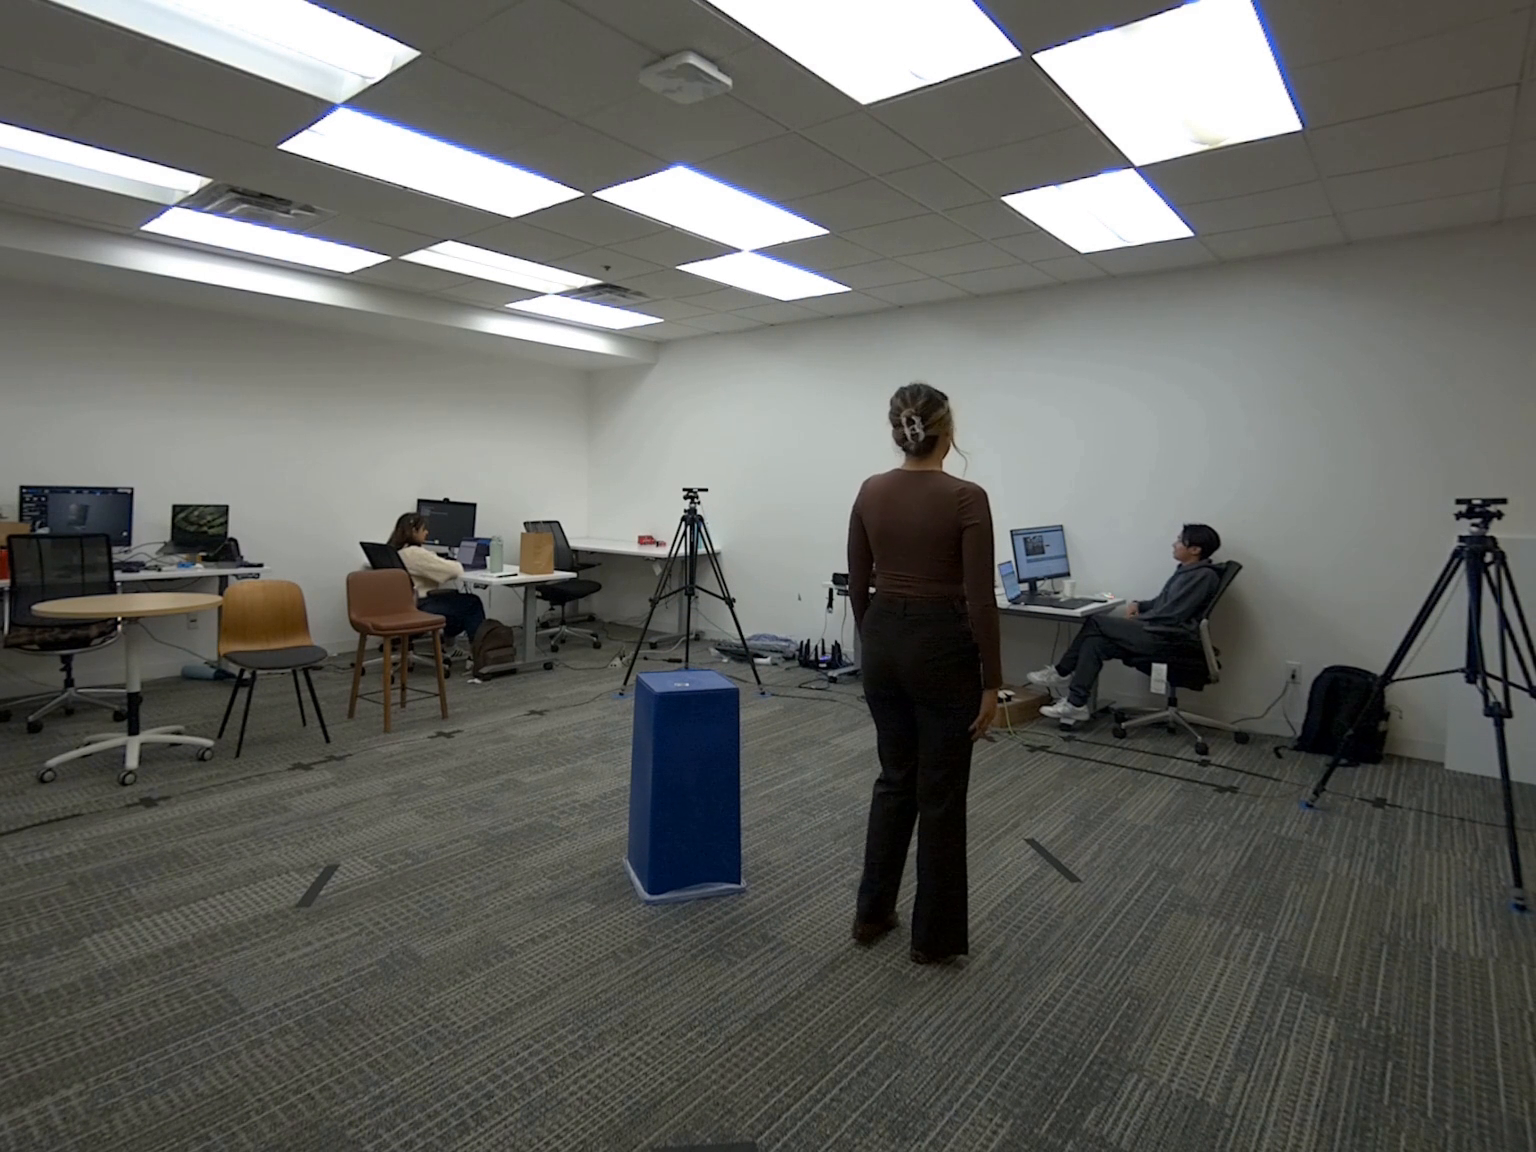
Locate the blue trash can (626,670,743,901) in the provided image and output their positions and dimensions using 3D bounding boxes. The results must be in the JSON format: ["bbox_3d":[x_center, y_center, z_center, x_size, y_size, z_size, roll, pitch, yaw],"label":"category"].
[{"bbox_3d":[-0.308,0.722,3.026,0.370,0.711,0.383,0,4,-21],"label":"blue trash can"}]
